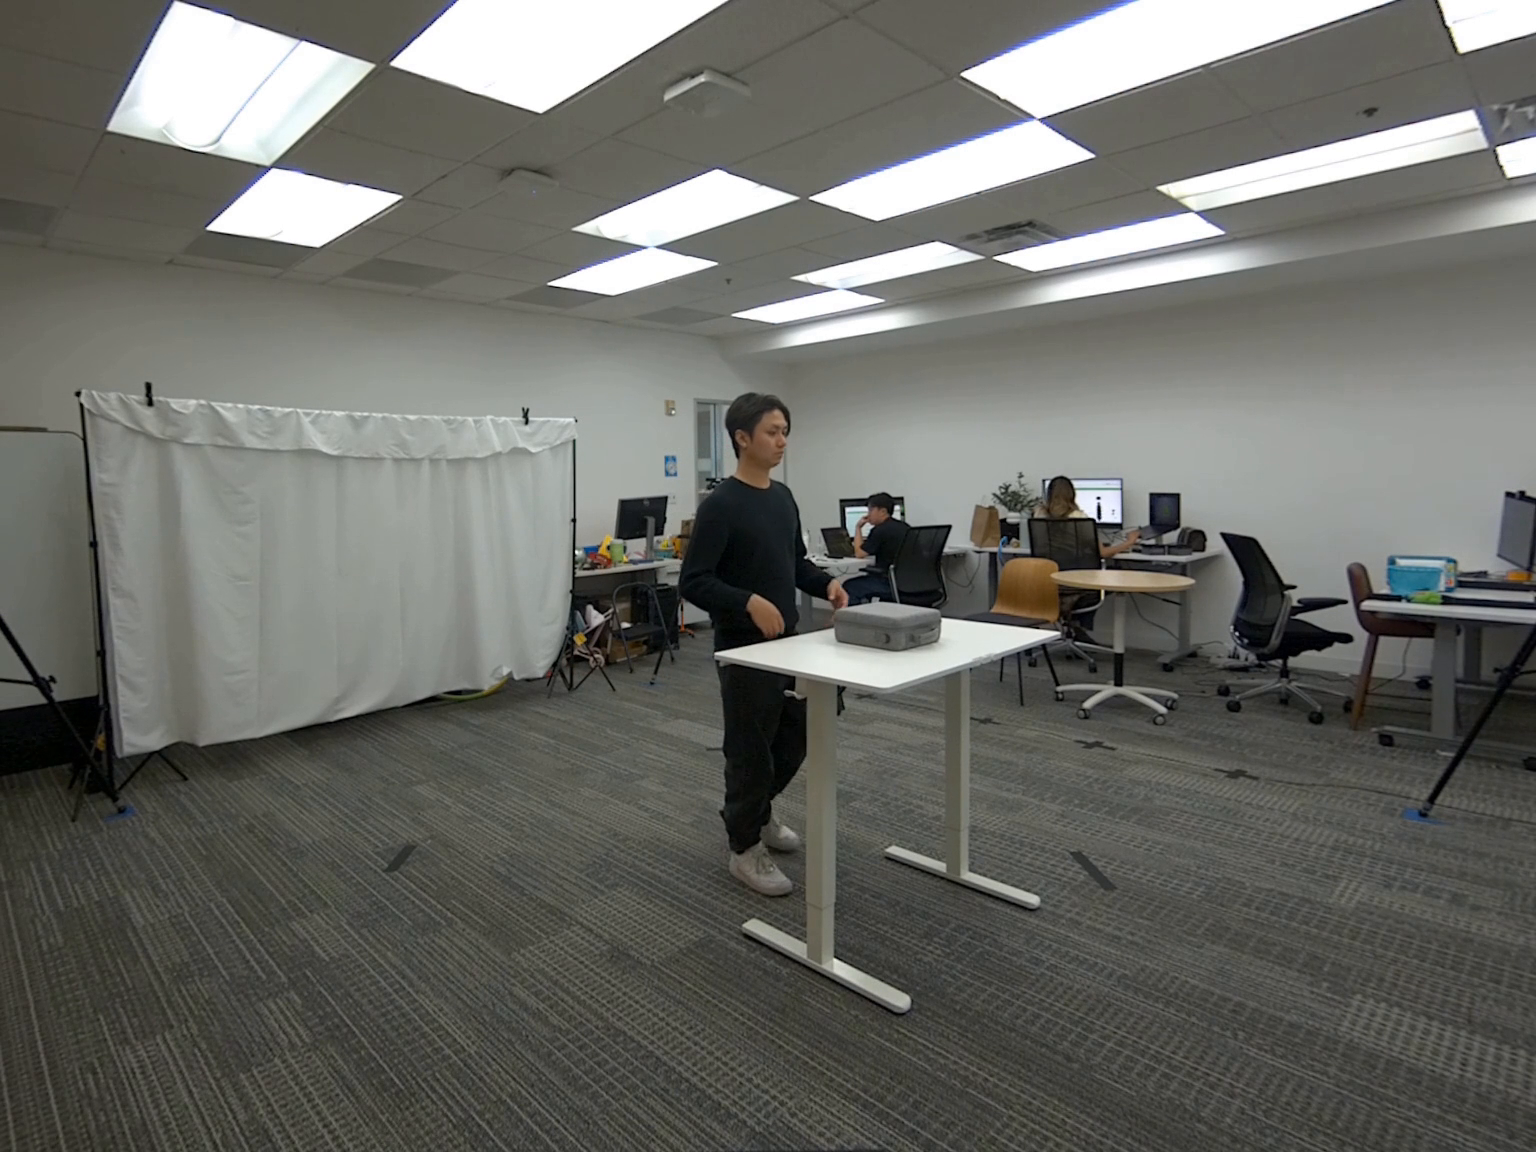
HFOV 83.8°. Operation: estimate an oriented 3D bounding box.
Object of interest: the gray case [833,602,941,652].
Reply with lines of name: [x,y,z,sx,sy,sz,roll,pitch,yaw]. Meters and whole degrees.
gray case: [0.382,0.152,2.649,0.269,0.104,0.250,6,8,44]
